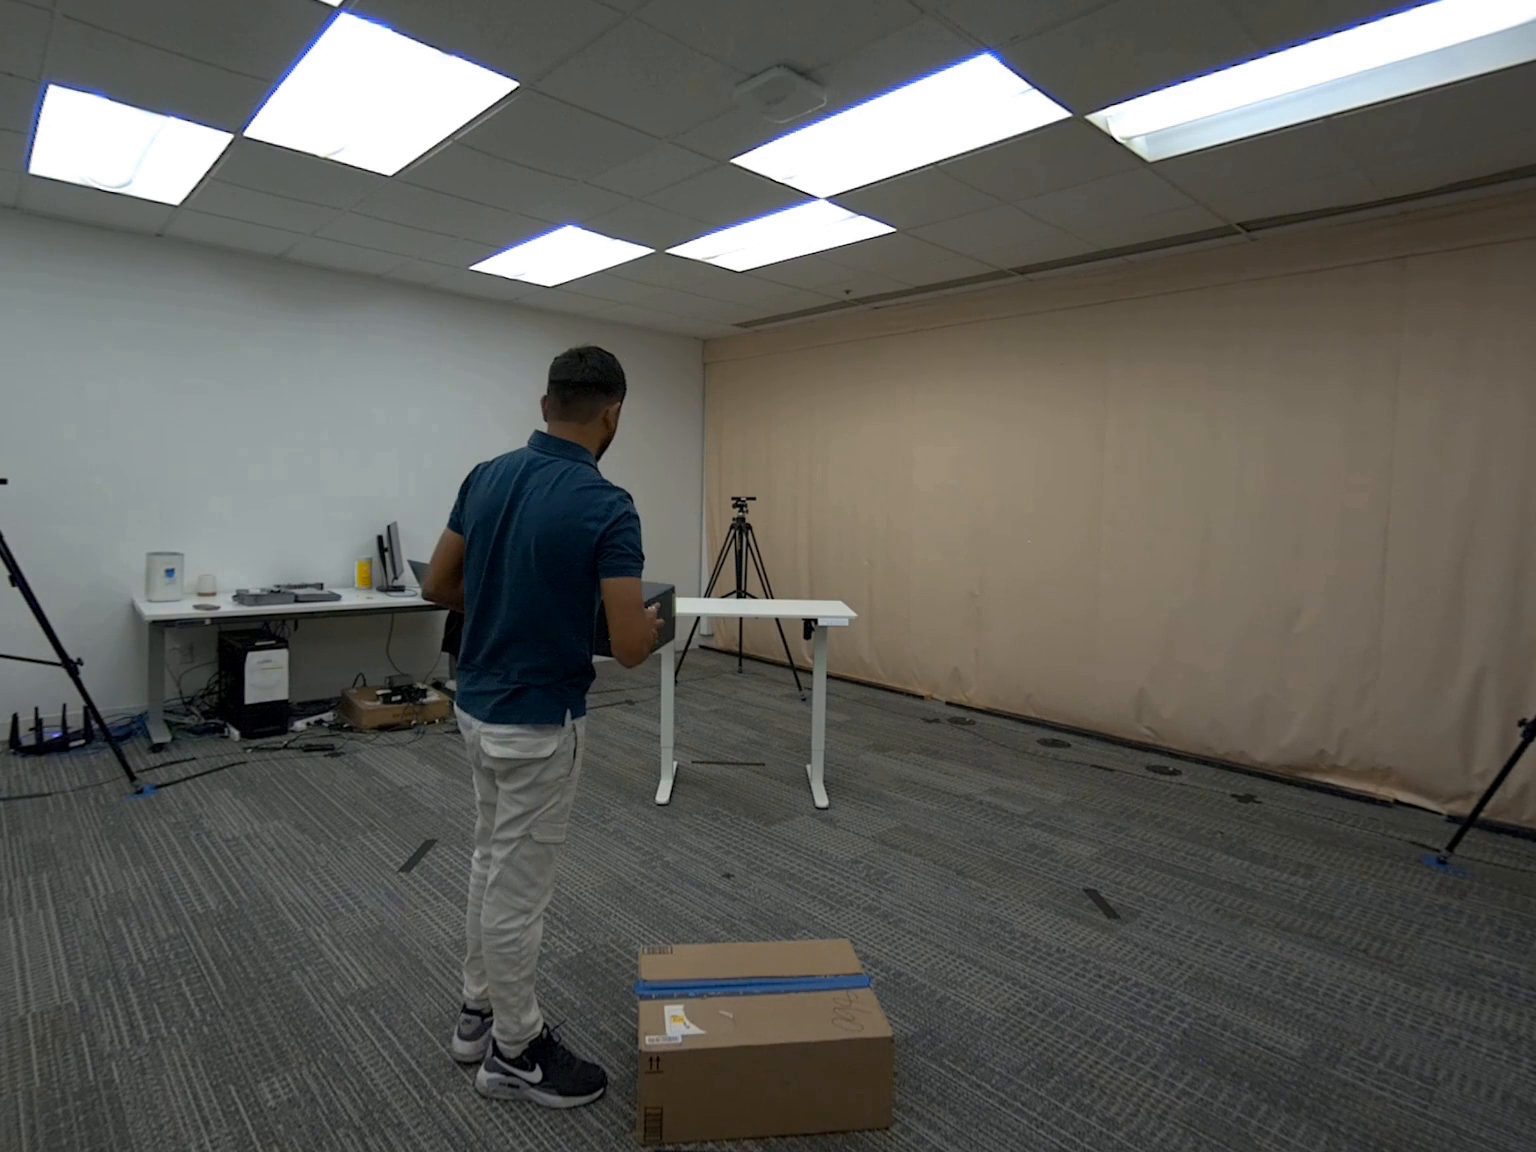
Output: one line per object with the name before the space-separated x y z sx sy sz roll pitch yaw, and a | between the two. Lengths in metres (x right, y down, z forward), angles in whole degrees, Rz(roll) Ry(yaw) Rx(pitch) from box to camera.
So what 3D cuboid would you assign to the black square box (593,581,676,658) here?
black square box | -0.398 0.113 2.250 0.231 0.155 0.215 5 12 18
